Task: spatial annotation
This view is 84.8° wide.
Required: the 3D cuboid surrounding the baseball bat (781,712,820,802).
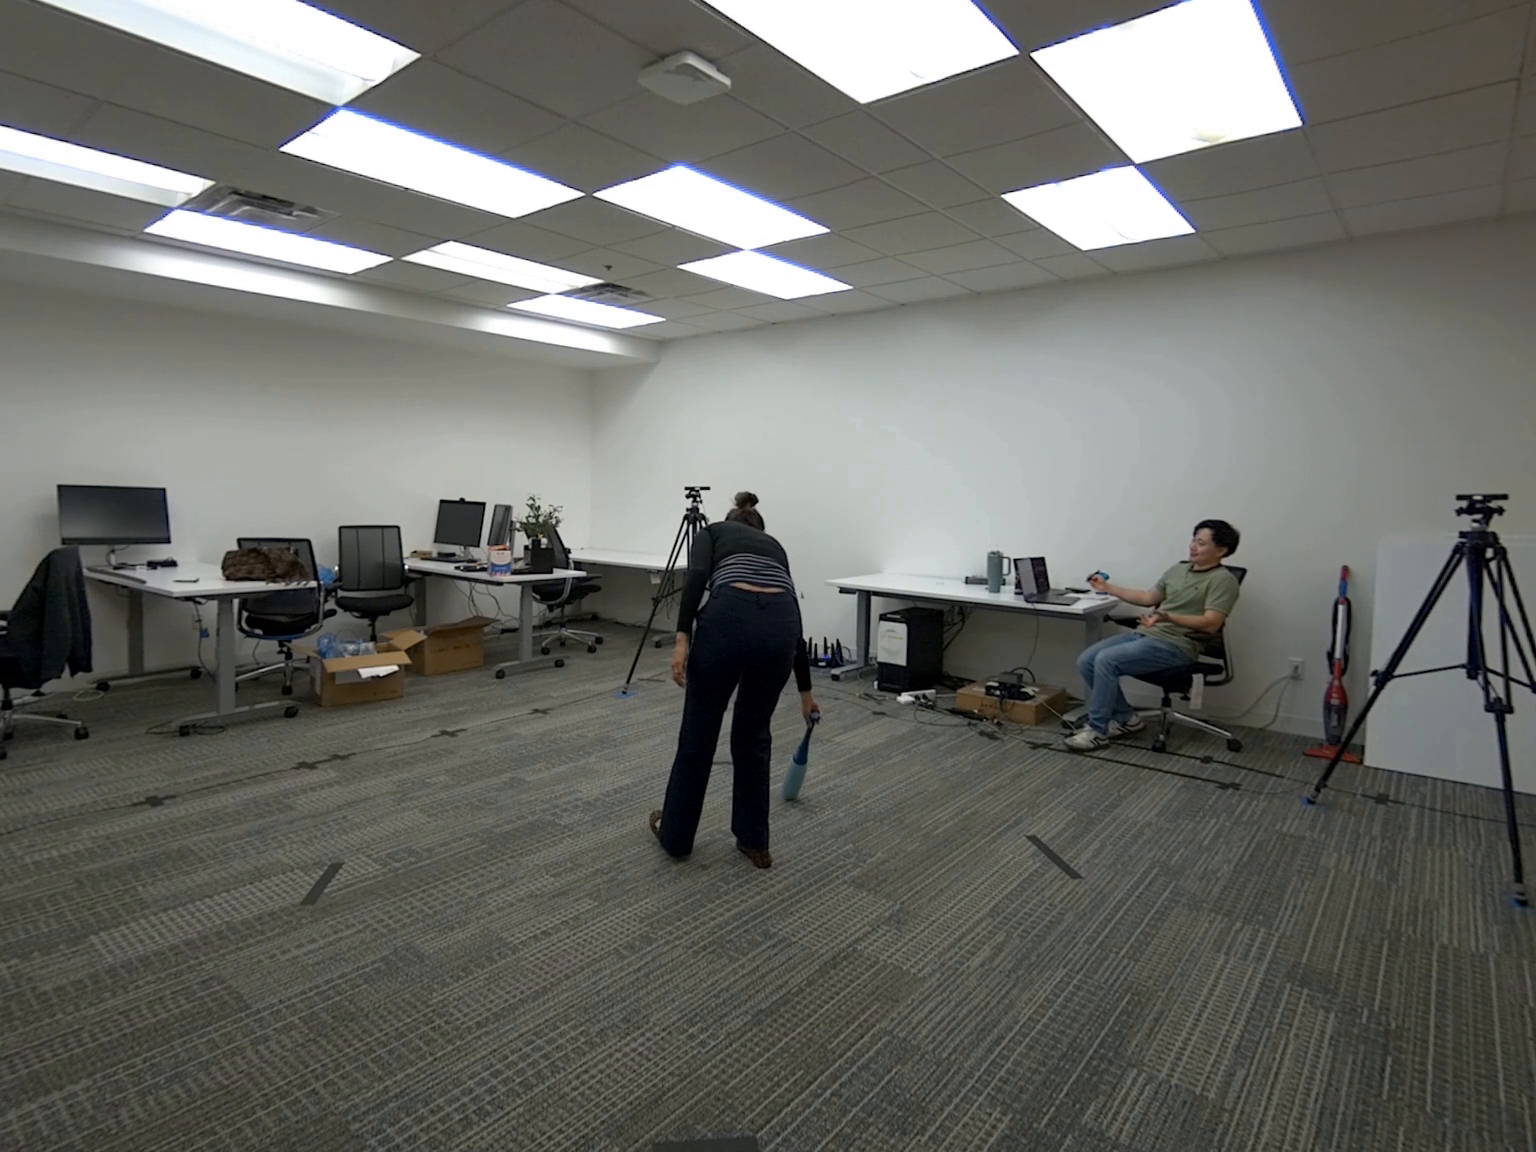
[{"bbox_3d":[0.130,0.778,3.680,0.088,0.532,0.091,7,38,-8],"label":"baseball bat"}]
